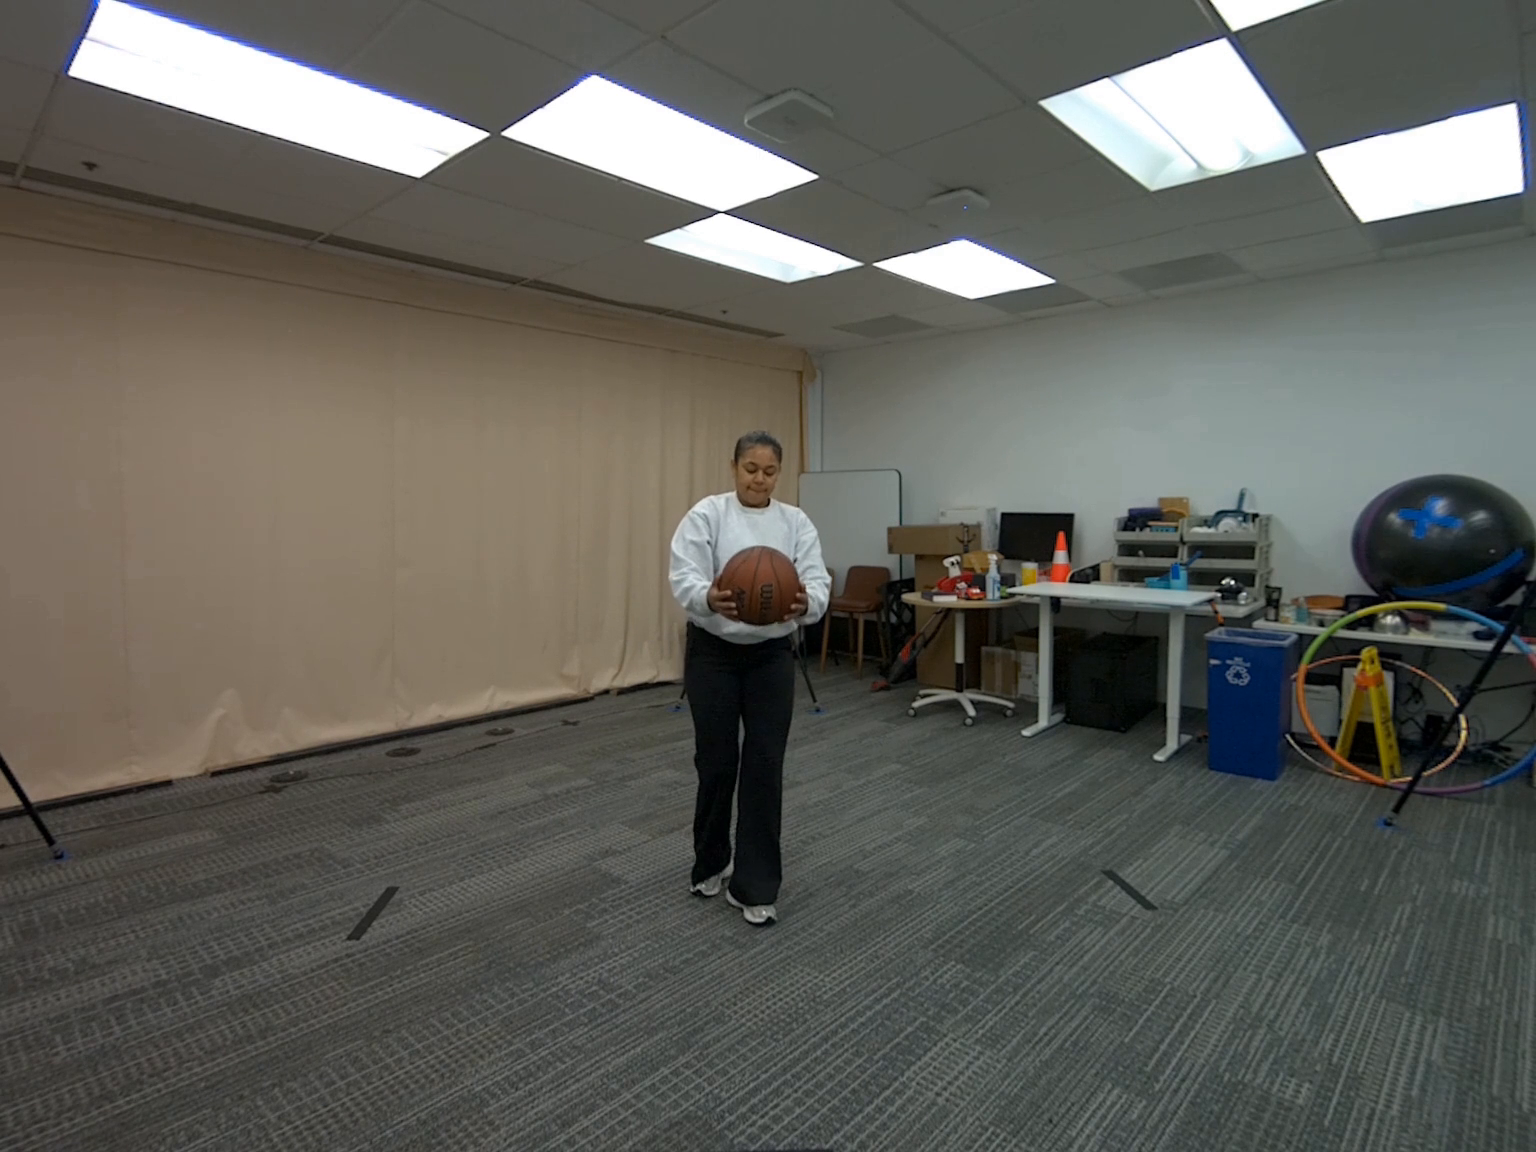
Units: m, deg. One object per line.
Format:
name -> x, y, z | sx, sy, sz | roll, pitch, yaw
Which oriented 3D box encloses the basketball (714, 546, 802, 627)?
basketball -> -0.025, 0.056, 2.507 | 0.236, 0.235, 0.237 | 0, 4, -2
